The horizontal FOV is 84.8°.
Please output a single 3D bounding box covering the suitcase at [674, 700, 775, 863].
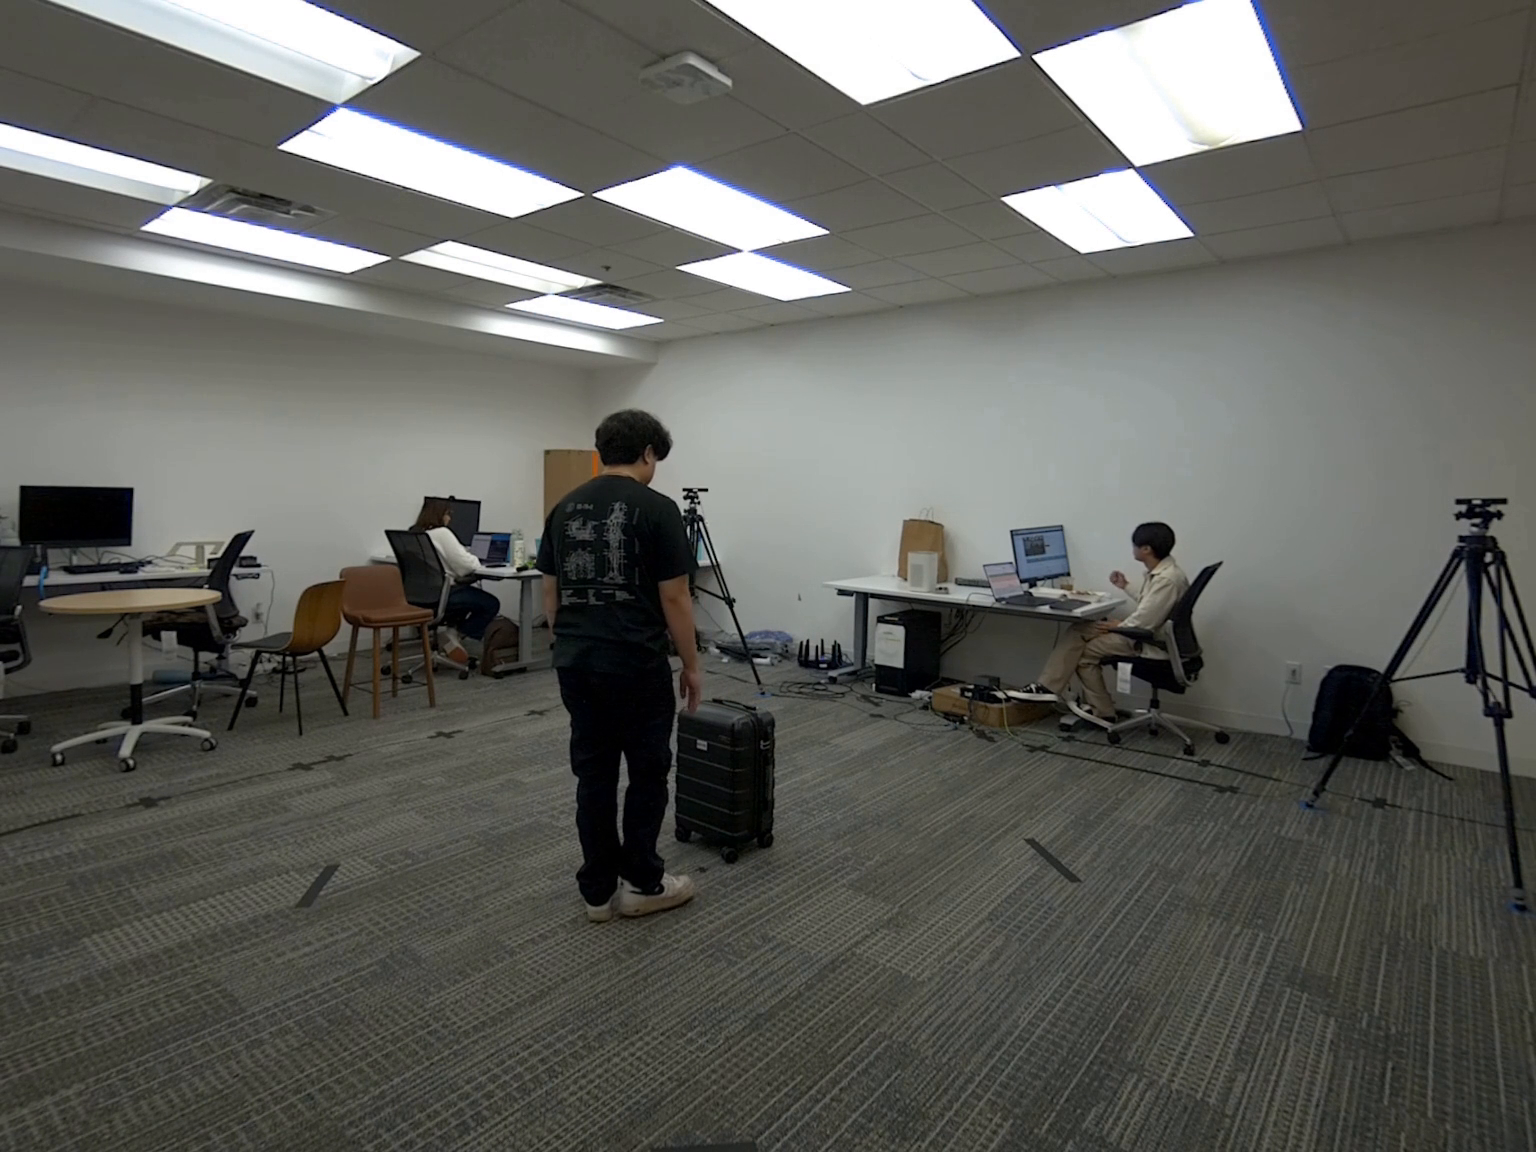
[{"bbox_3d":[-0.177,0.770,3.345,0.388,0.548,0.240,4,3,40],"label":"suitcase"}]
